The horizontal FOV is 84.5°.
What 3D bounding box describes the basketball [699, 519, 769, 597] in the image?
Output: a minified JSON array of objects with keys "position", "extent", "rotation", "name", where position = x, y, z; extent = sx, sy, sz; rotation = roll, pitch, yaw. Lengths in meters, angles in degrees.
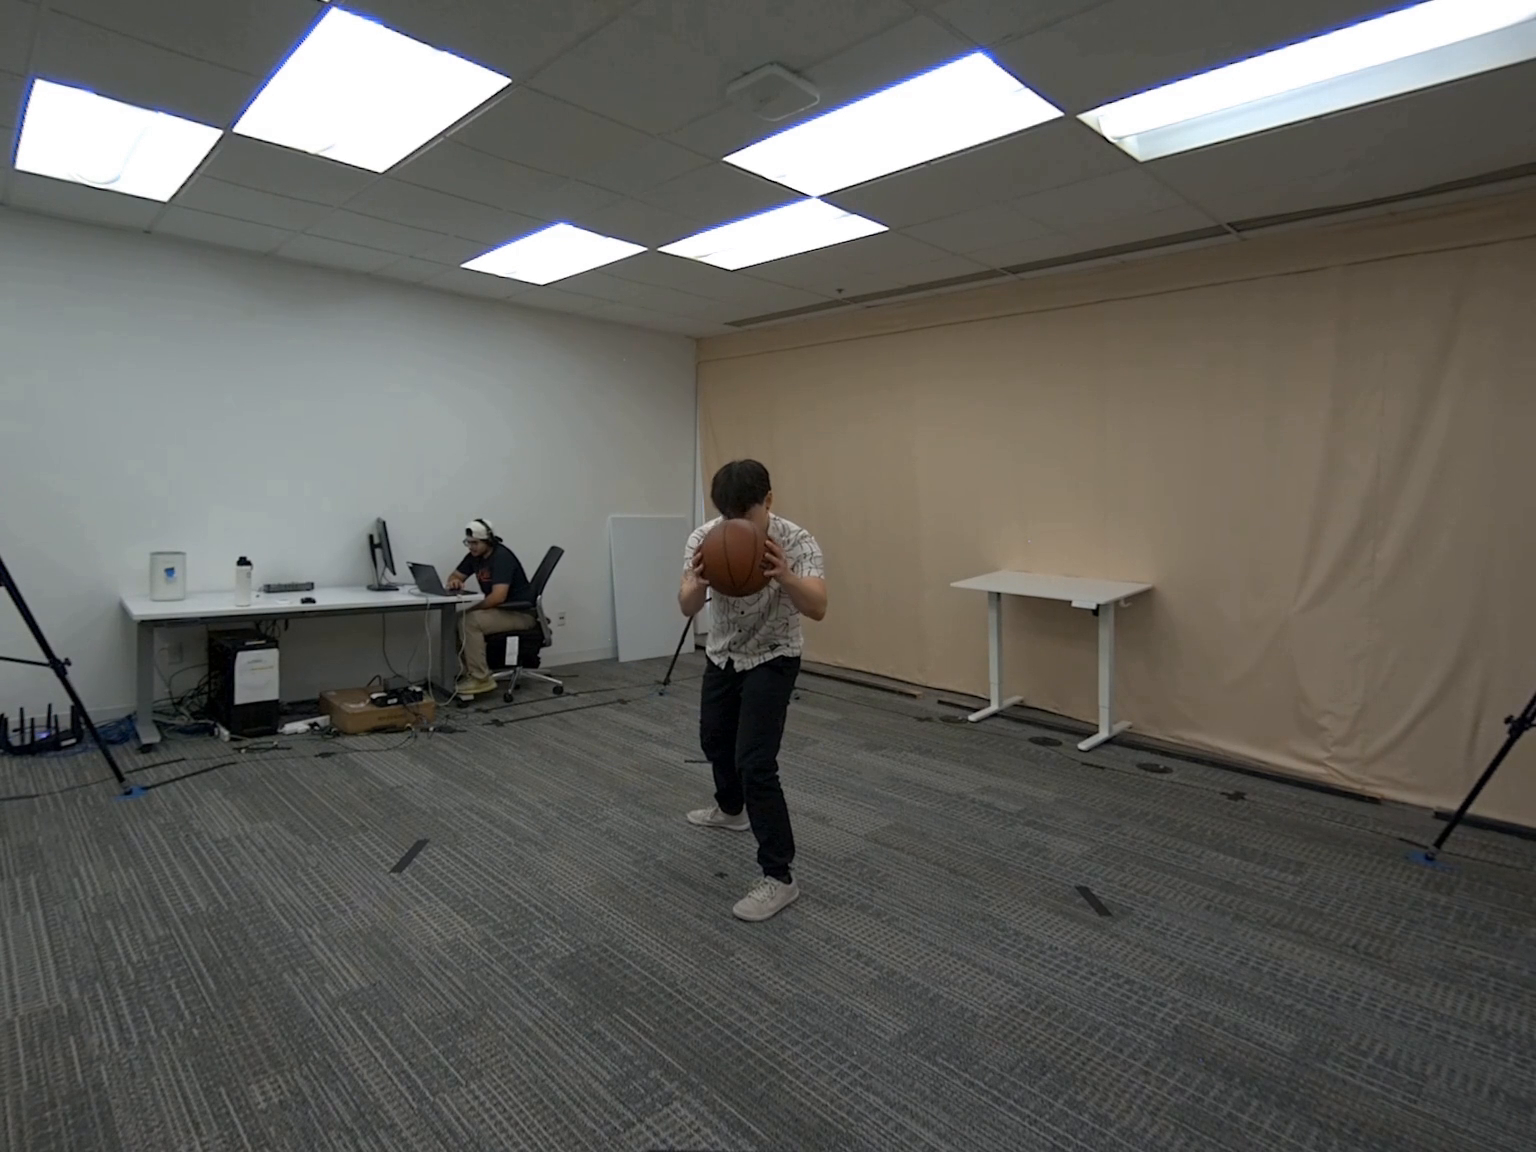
[{"position":[-0.105,-0.043,2.547],"extent":[0.236,0.235,0.237],"rotation":[1,4,-1],"name":"basketball"}]
